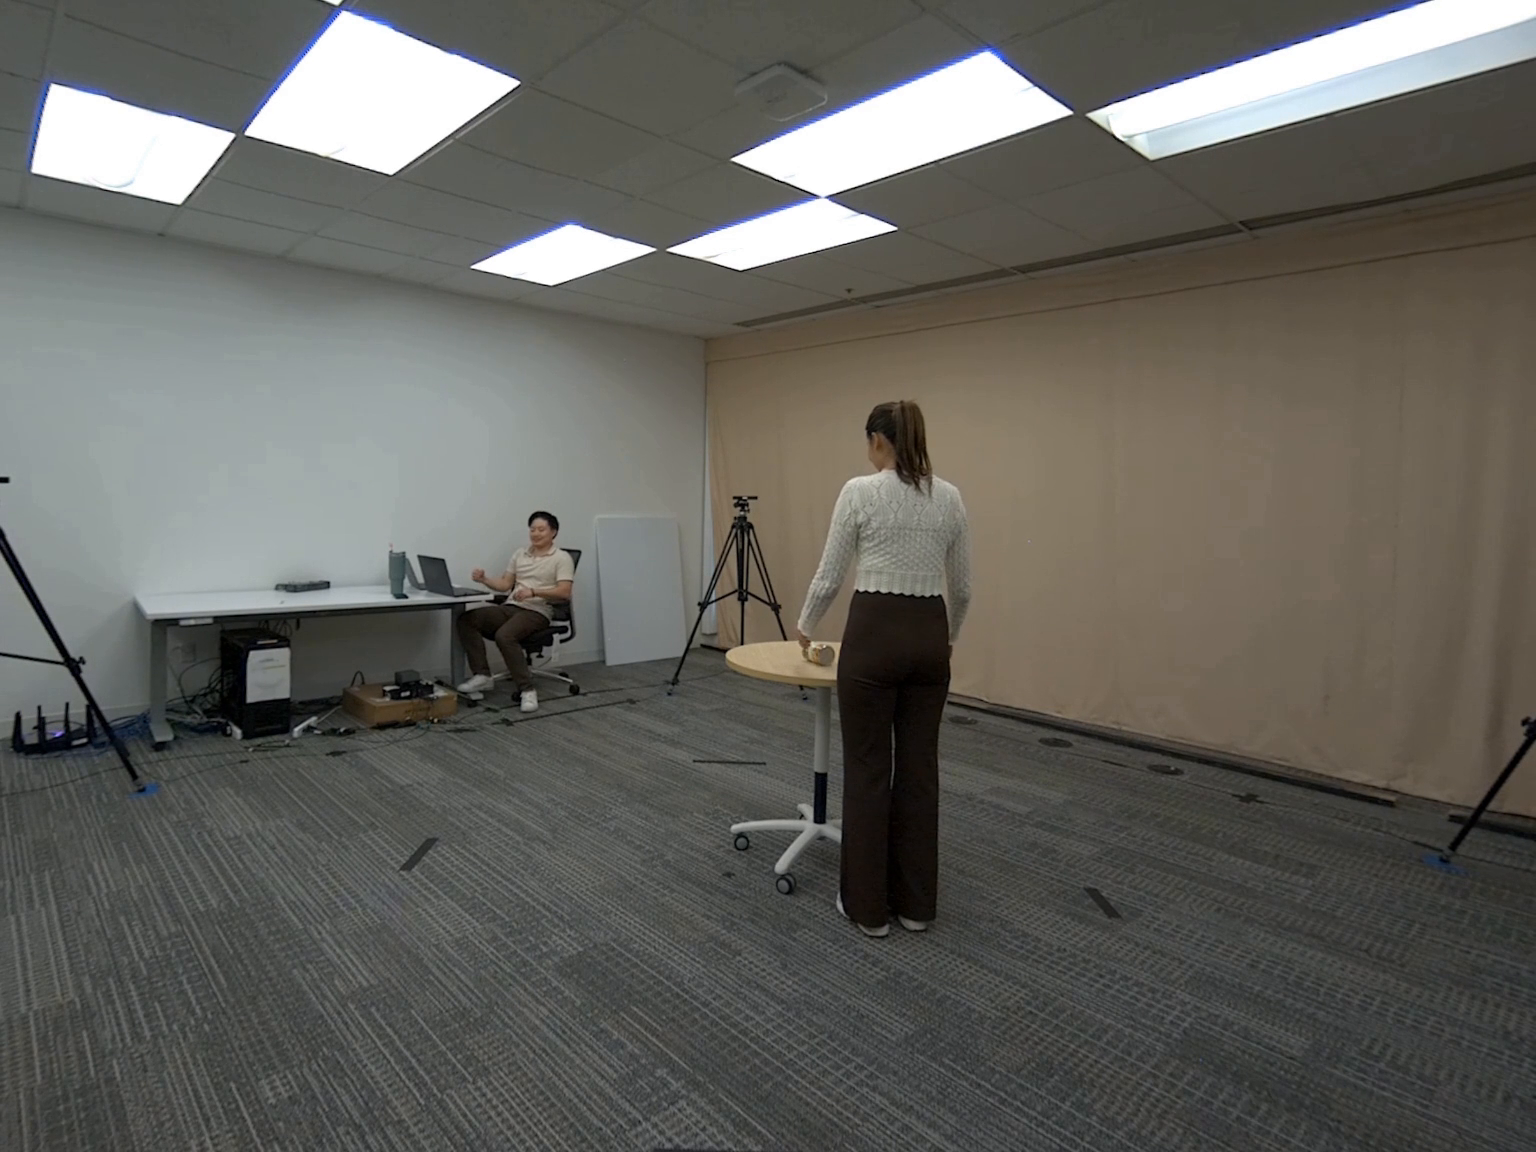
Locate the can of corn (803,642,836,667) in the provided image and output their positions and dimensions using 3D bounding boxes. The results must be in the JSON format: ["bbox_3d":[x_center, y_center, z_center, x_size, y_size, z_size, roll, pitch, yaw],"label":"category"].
[{"bbox_3d":[0.180,0.286,3.139,0.073,0.074,0.113,0,6,-21],"label":"can of corn"}]
